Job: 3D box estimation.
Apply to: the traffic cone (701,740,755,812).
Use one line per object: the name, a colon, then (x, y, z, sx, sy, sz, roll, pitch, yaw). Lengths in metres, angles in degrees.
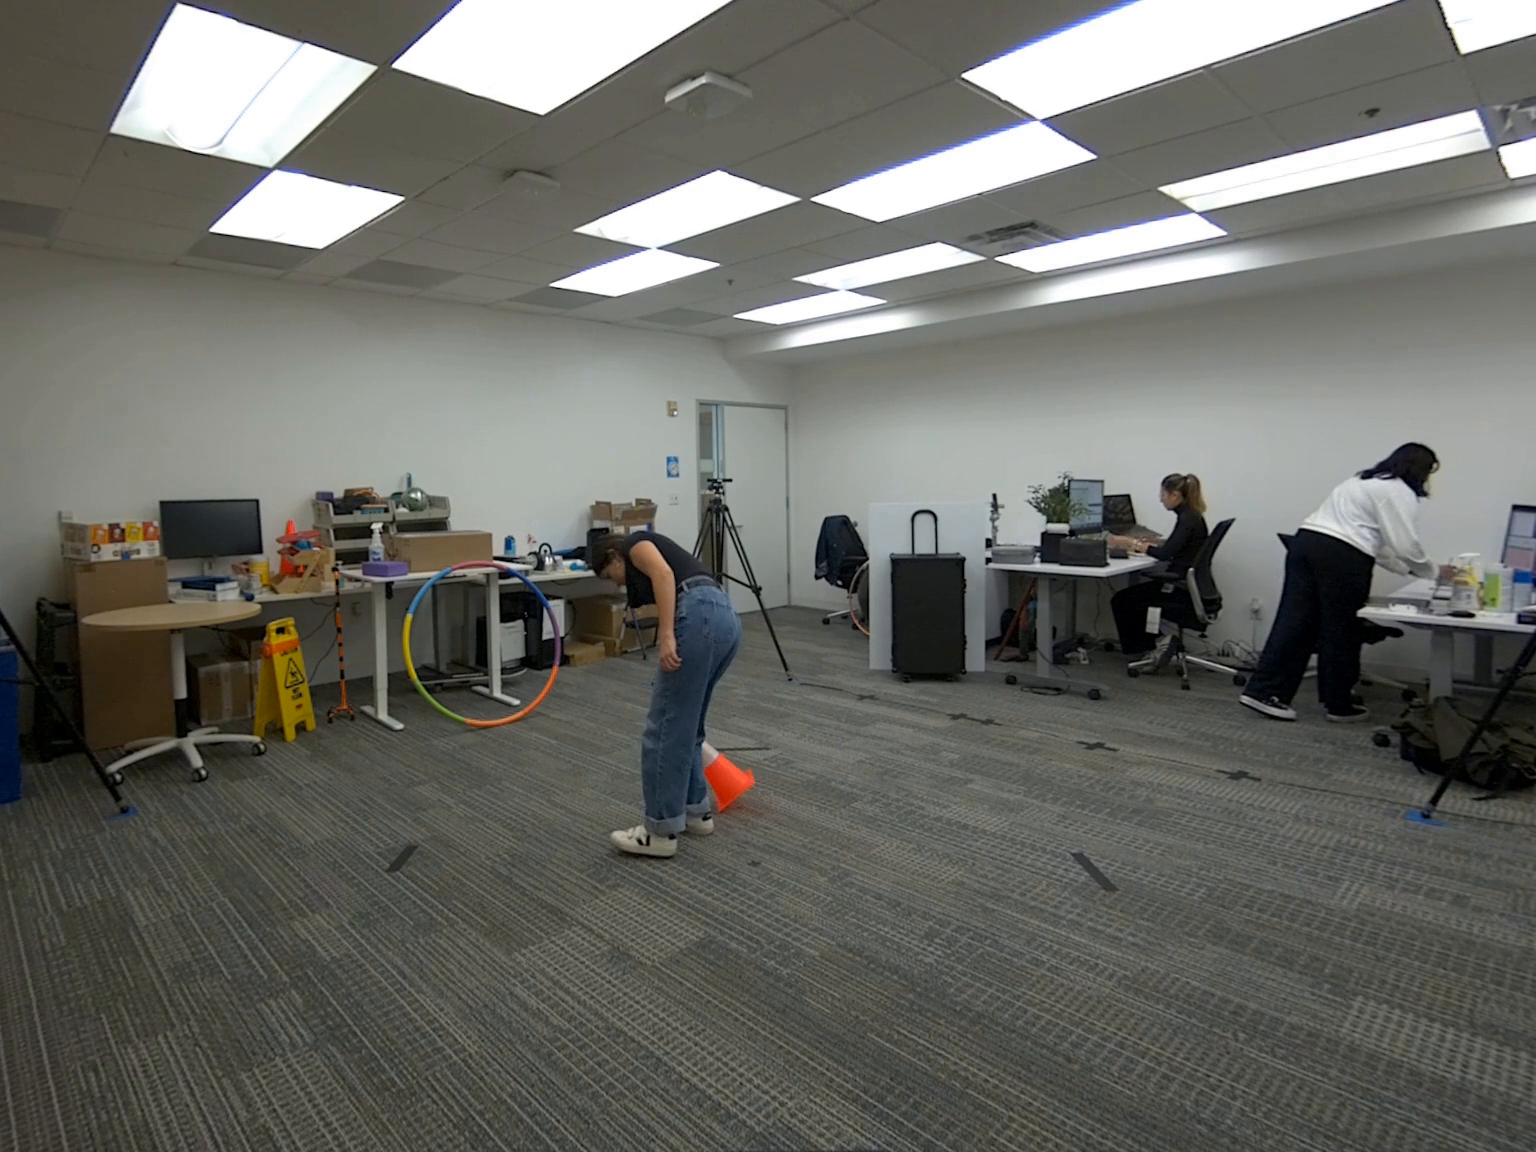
traffic cone: (-0.260, 0.782, 3.671, 0.205, 0.382, 0.204, -40, 3, -2)
